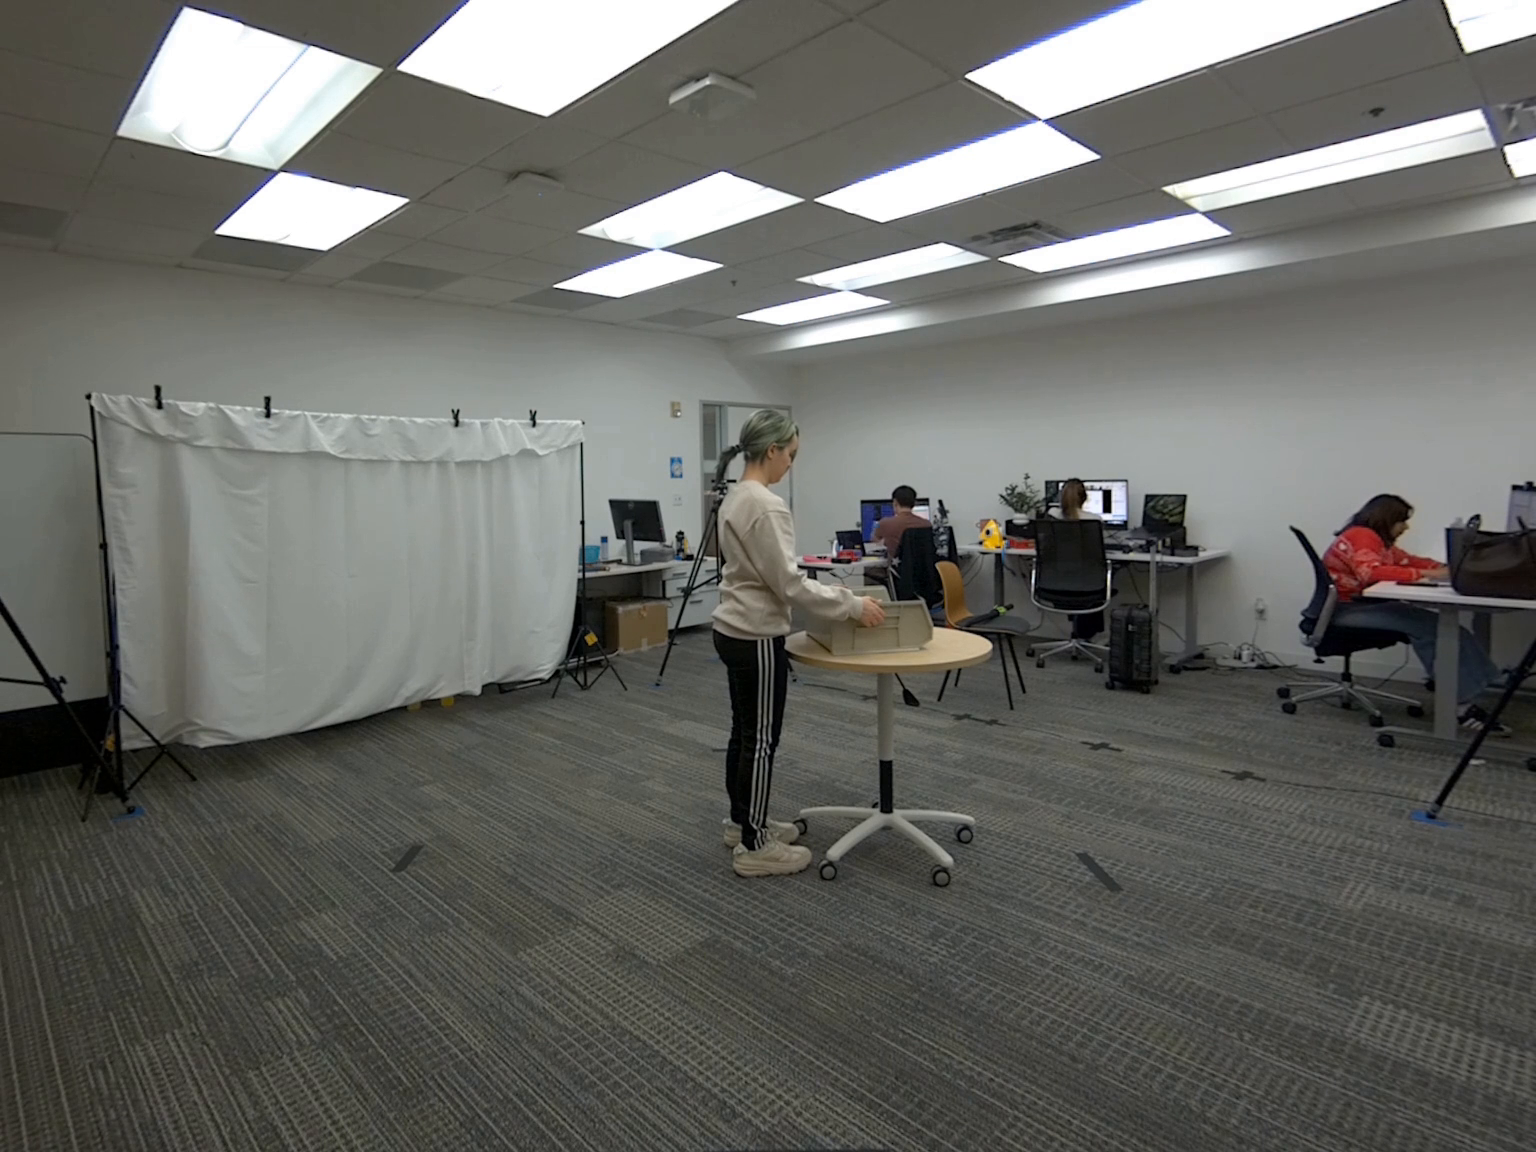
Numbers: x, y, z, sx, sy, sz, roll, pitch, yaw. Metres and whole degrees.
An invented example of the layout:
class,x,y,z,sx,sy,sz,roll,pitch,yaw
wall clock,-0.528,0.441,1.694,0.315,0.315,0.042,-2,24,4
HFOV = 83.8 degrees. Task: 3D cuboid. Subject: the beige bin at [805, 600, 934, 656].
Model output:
class,x,y,z,sx,sy,sz,roll,pitch,yaw
beige bin,0.360,0.158,3.177,0.374,0.188,0.428,-3,7,-10
